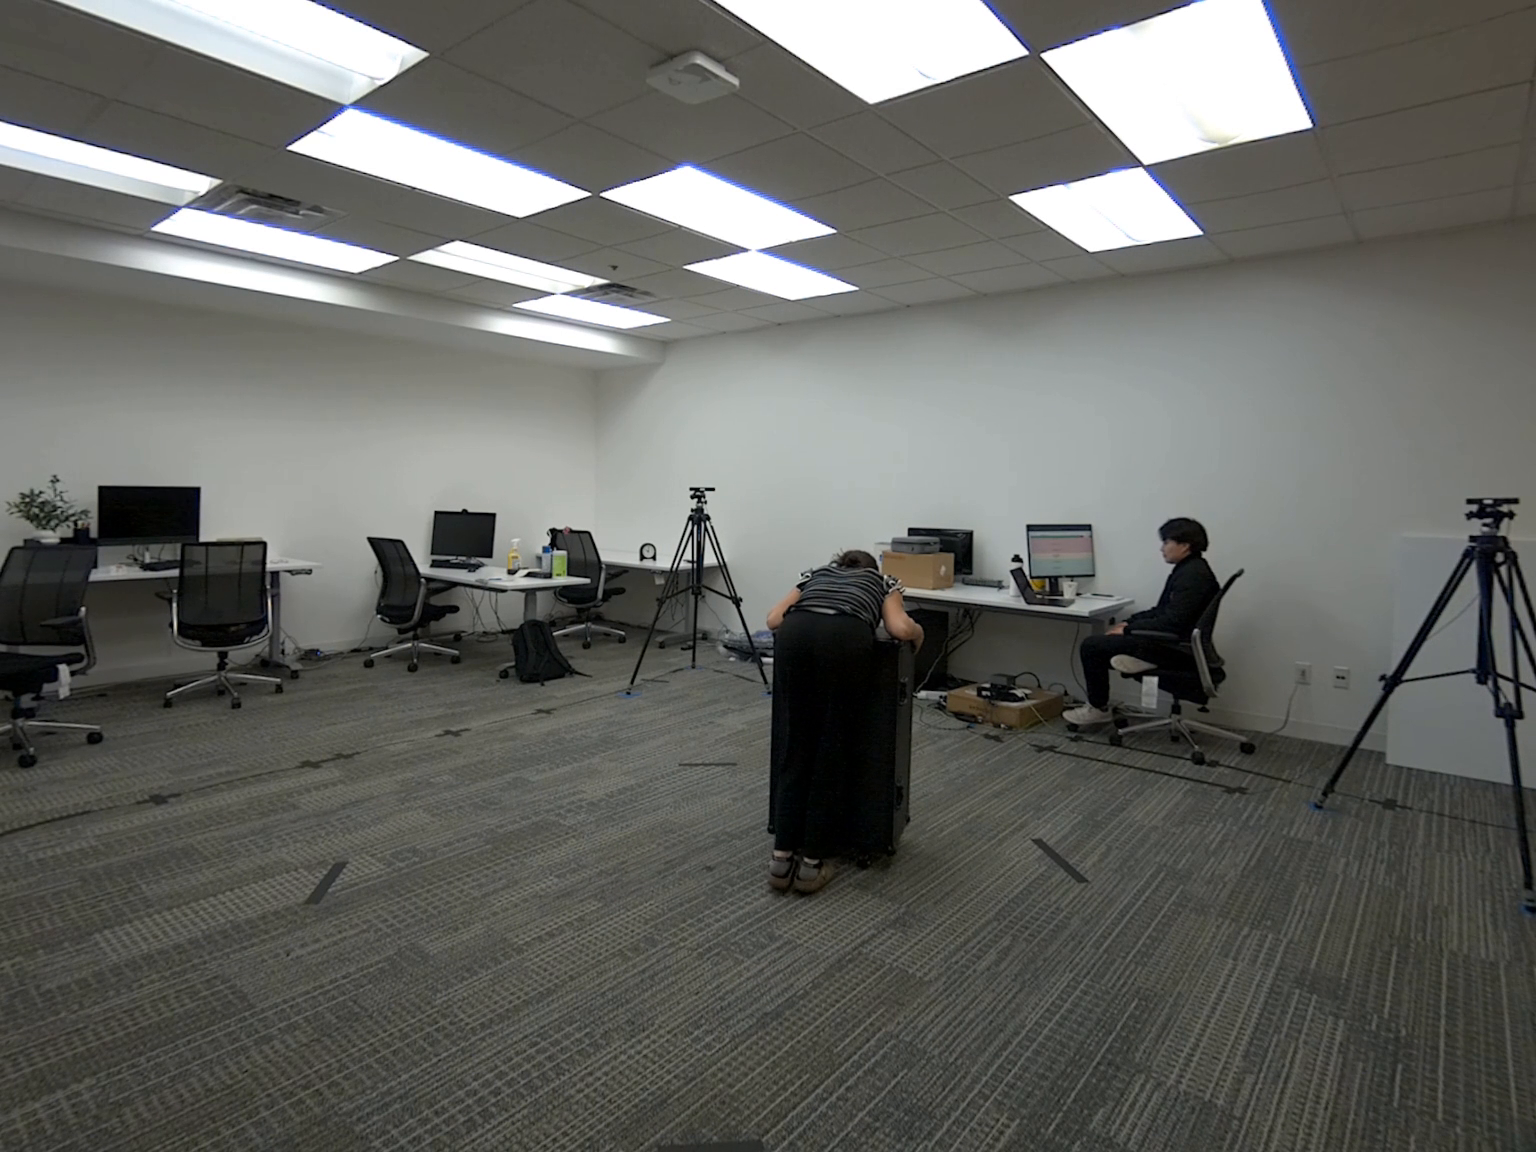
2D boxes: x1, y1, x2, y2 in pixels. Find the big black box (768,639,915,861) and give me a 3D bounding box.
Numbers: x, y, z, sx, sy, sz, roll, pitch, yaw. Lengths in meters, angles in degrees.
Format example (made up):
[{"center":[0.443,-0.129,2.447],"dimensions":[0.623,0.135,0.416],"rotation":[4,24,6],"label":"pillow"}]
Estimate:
[{"center":[0.285,0.641,3.346],"dimensions":[0.532,0.860,0.389],"rotation":[2,2,19],"label":"big black box"}]
